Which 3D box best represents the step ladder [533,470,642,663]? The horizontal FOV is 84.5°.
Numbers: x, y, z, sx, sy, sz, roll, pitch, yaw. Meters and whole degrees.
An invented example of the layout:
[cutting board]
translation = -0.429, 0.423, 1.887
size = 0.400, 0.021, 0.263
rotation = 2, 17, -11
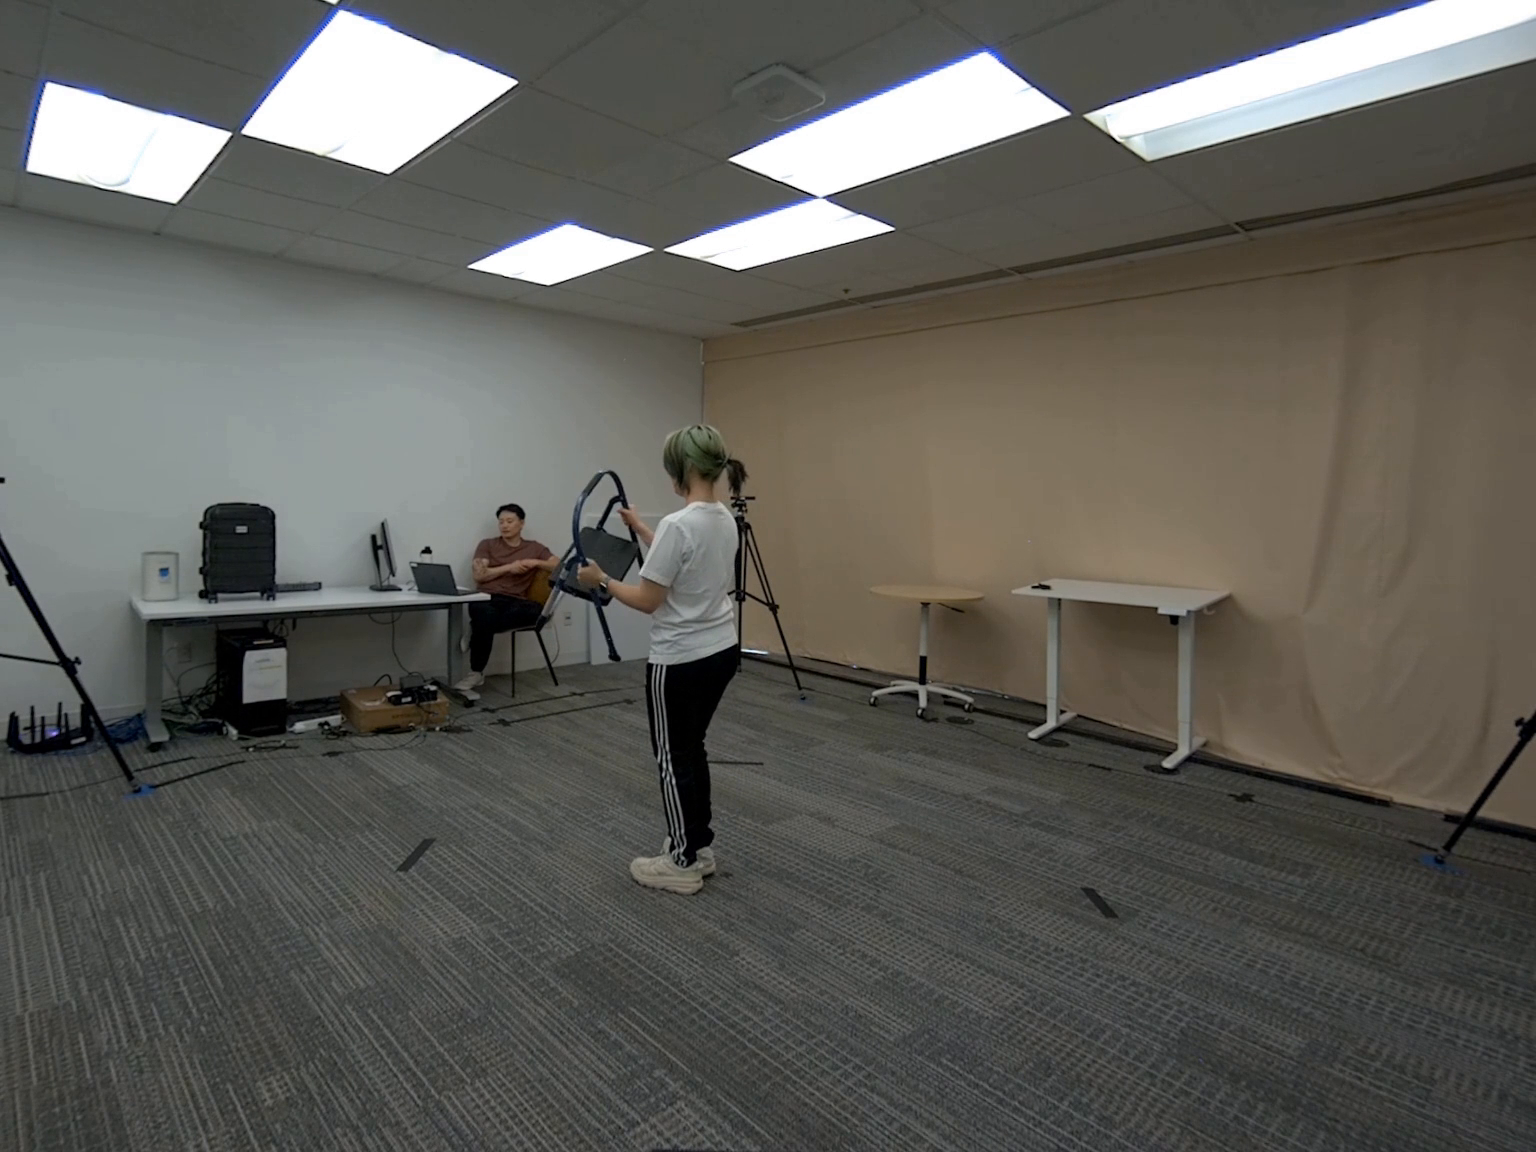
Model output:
[step ladder]
translation = -0.620, -0.078, 3.165
size = 0.350, 0.597, 0.436
rotation = 17, 39, 2
